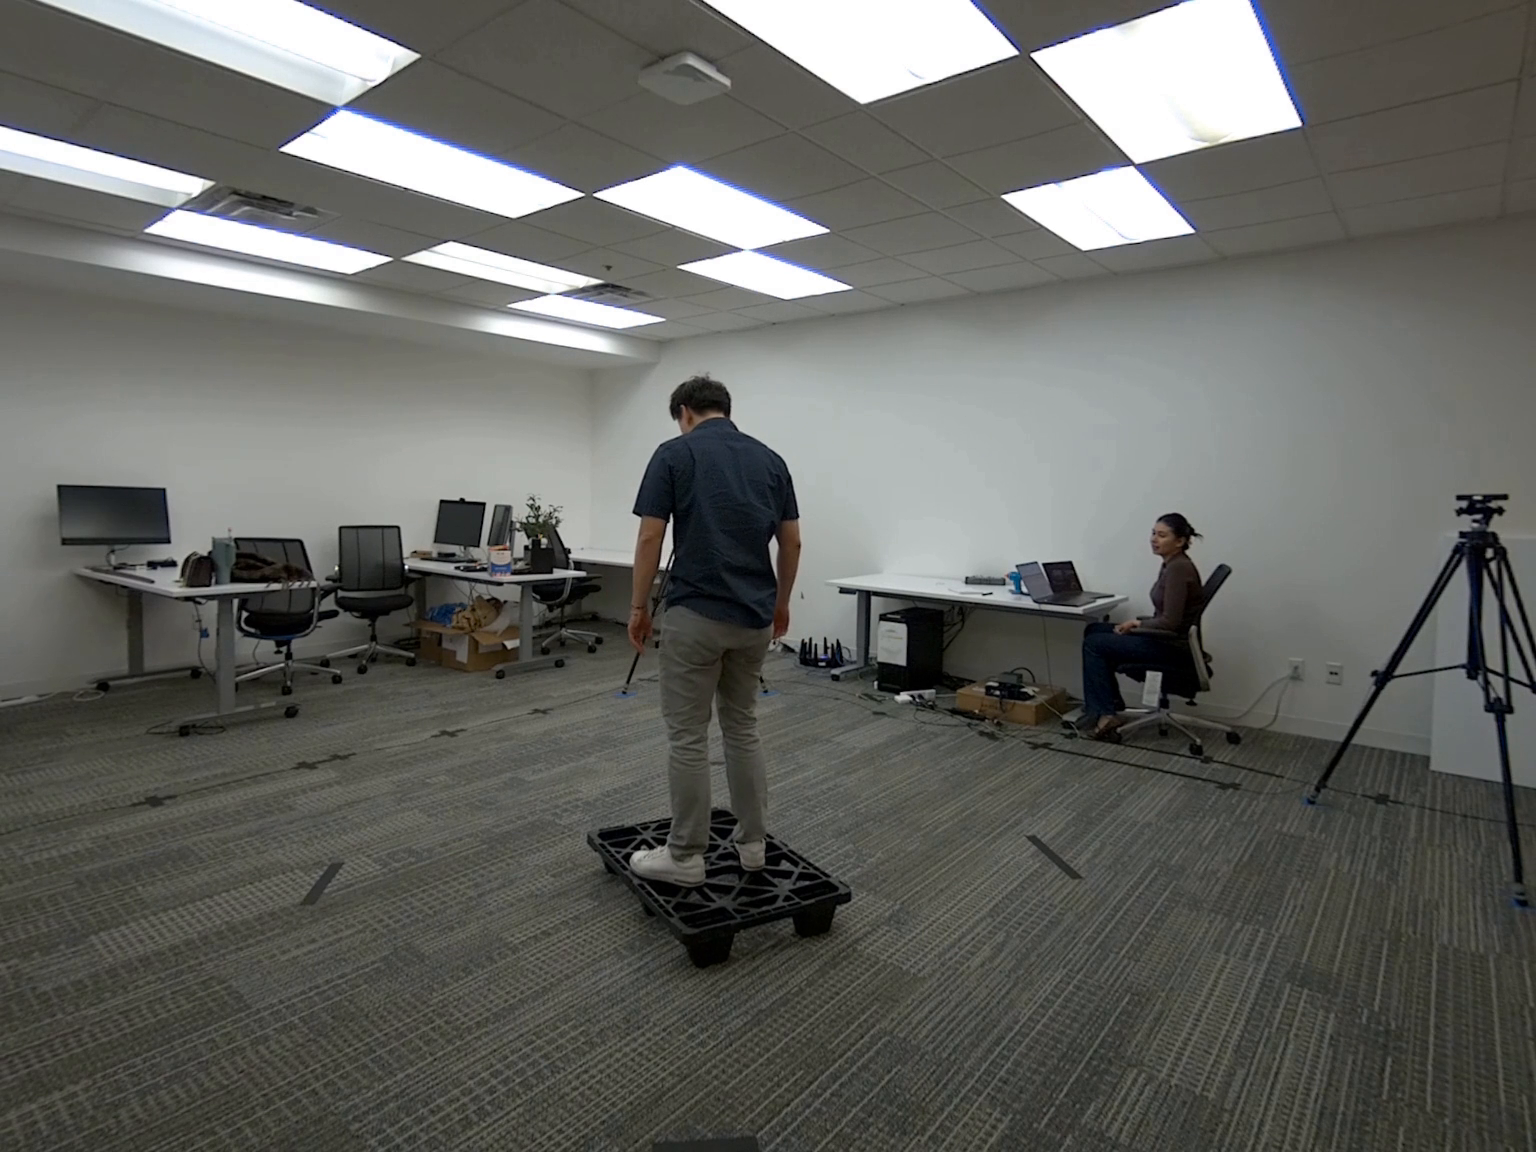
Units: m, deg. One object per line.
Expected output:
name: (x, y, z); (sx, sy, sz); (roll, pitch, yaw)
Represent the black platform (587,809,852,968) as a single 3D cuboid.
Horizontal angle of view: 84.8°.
black platform: (-0.206, 1.021, 2.874); (0.589, 0.143, 0.831); (-3, 7, -31)
